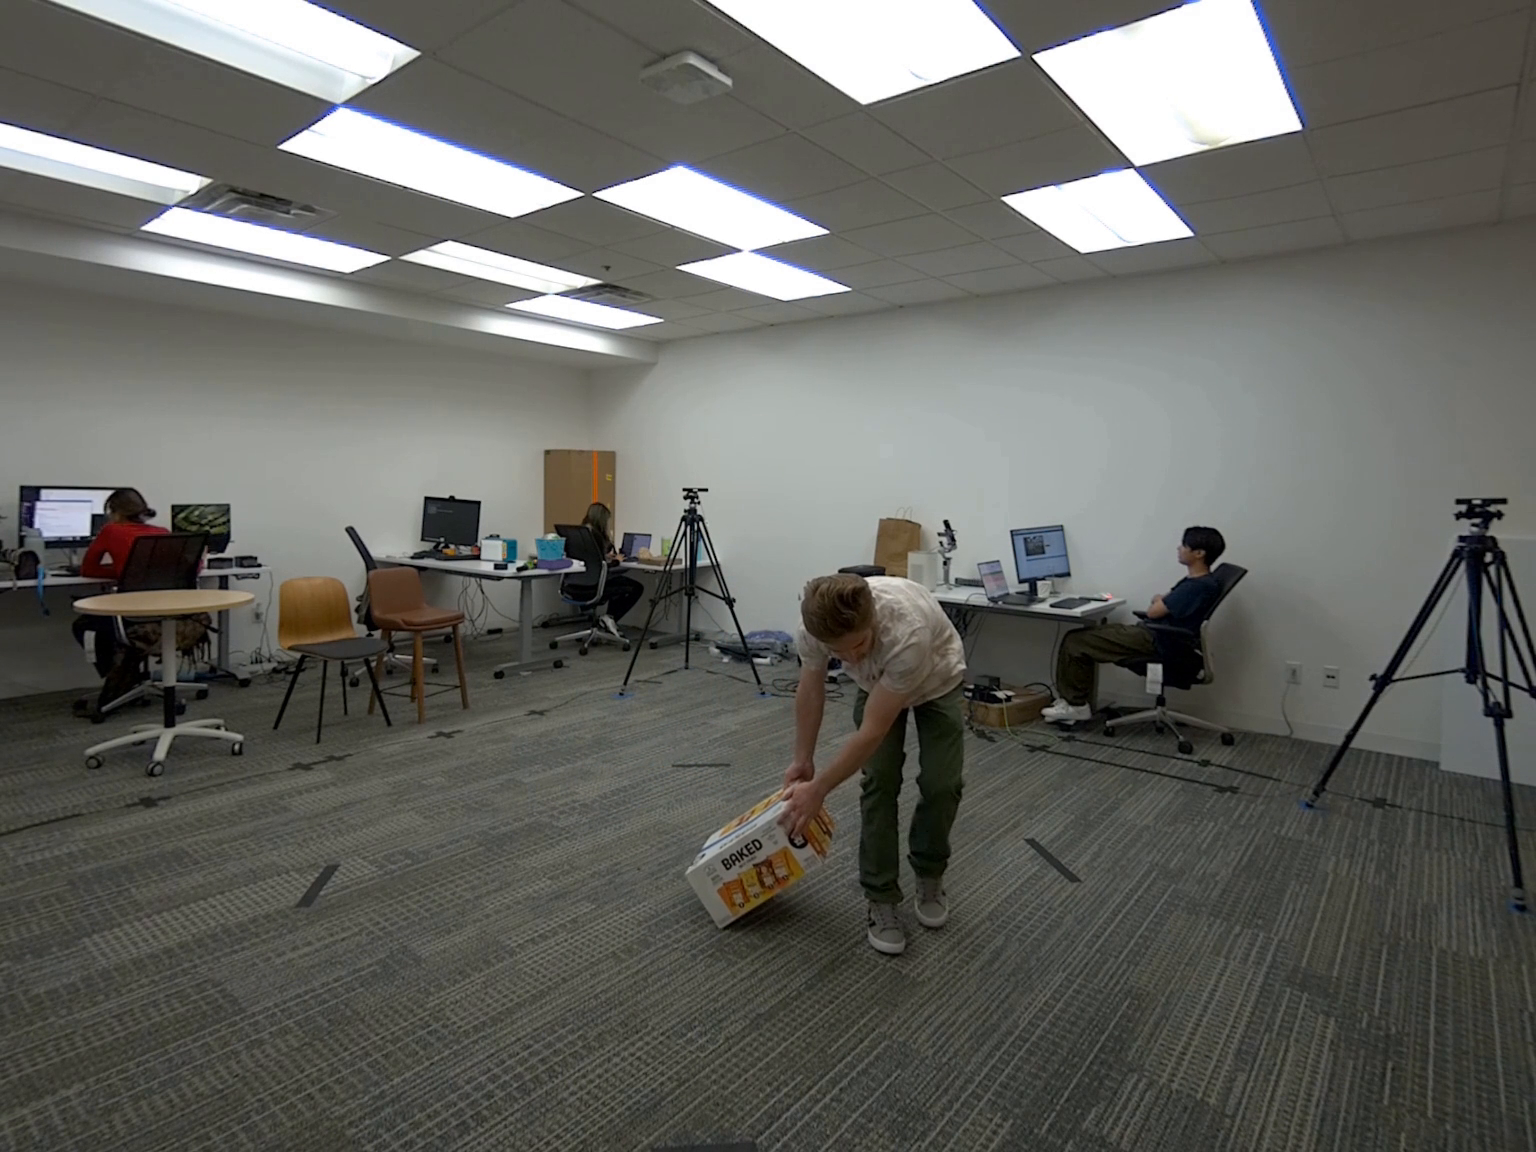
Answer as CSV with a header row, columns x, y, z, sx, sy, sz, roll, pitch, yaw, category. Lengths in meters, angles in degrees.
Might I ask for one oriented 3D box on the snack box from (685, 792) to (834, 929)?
x,y,z,sx,sy,sz,roll,pitch,yaw,category
-0.024,0.901,2.809,0.406,0.207,0.336,-36,-4,11,snack box
